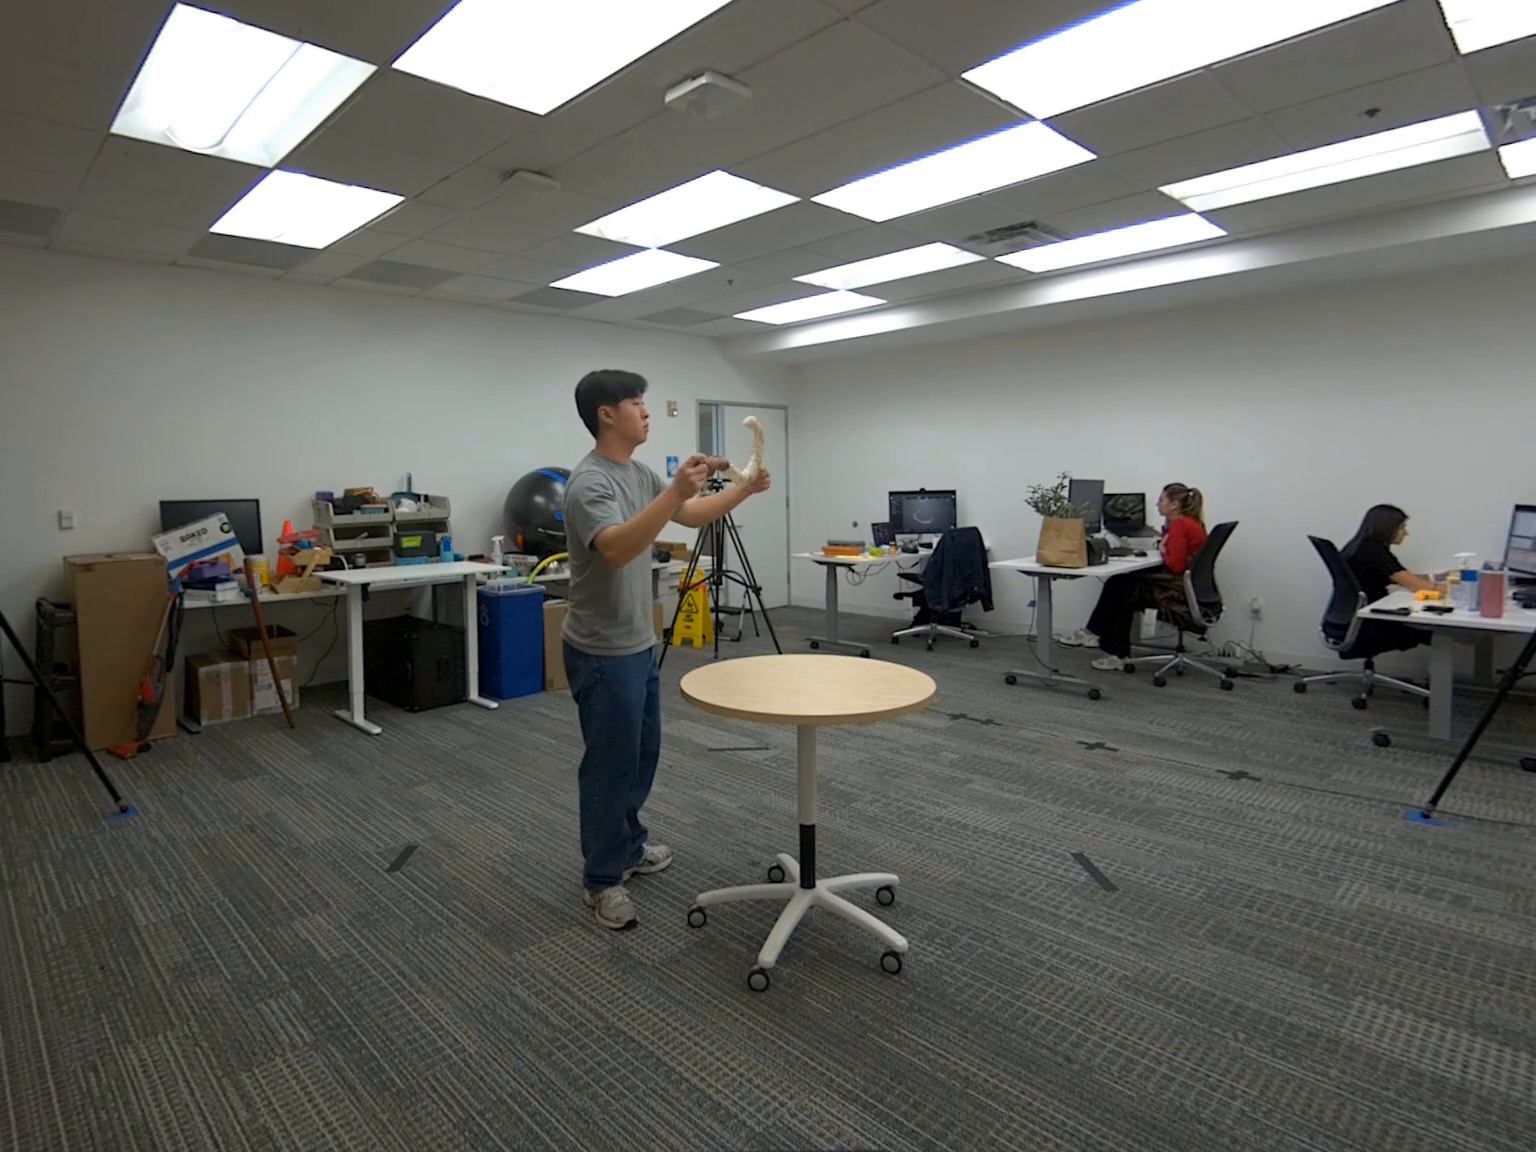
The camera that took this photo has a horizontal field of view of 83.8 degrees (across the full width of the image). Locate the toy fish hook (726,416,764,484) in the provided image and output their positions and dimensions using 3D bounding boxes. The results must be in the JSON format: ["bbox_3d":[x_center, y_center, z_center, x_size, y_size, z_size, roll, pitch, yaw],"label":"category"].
[{"bbox_3d":[-0.119,-0.381,2.632,0.049,0.224,0.498,4,5,19],"label":"toy fish hook"}]
